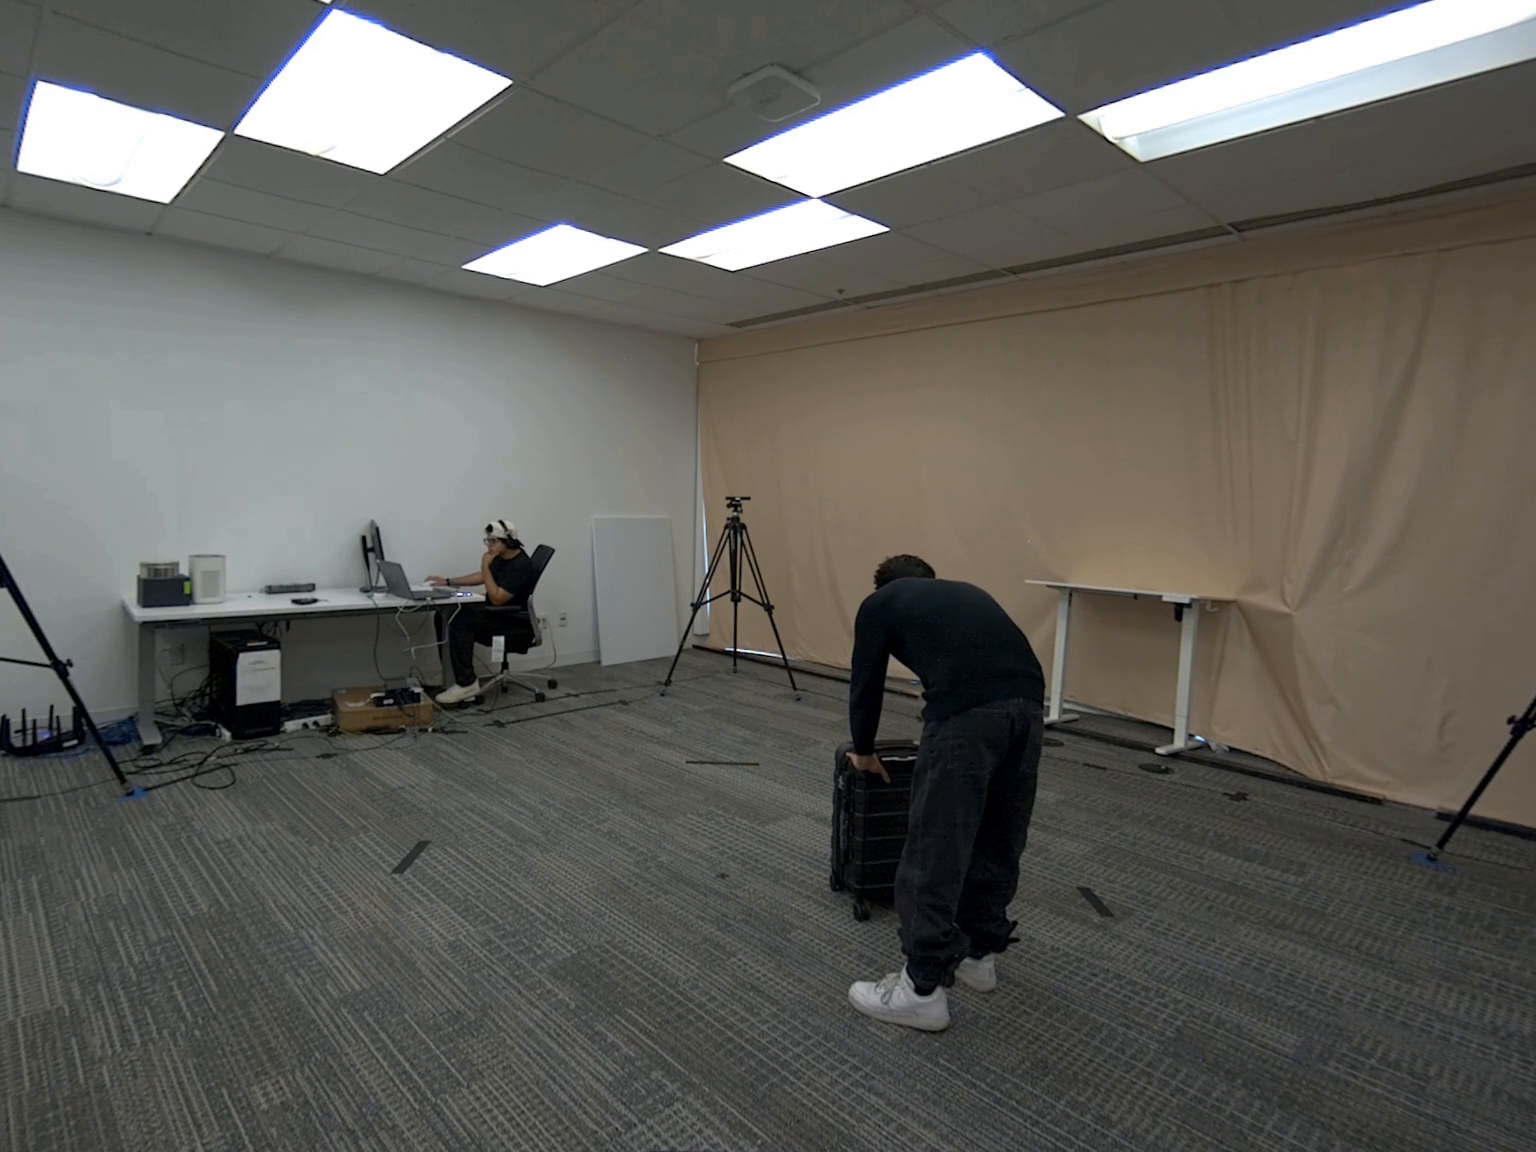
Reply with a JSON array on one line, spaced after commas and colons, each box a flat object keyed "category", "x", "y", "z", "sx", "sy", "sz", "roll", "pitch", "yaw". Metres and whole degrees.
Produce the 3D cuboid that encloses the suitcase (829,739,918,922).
[{"category": "suitcase", "x": 0.411, "y": 0.860, "z": 2.952, "sx": 0.371, "sy": 0.548, "sz": 0.252, "roll": 0, "pitch": 2, "yaw": -16}]
